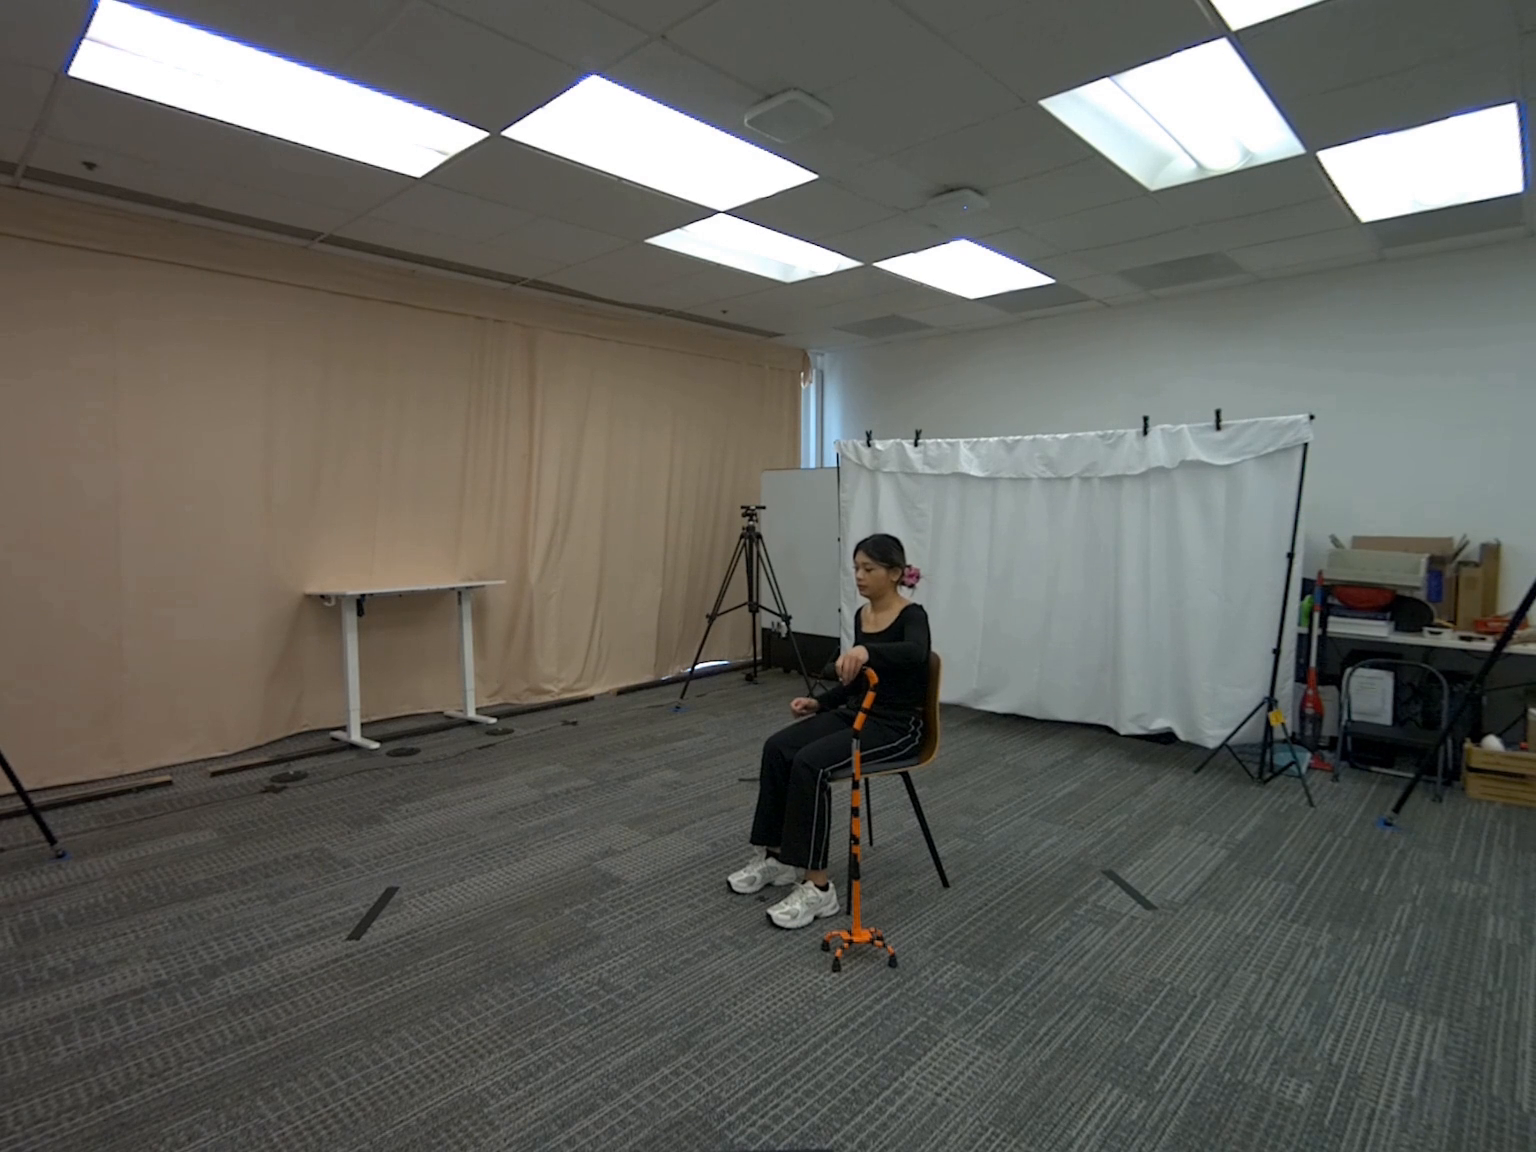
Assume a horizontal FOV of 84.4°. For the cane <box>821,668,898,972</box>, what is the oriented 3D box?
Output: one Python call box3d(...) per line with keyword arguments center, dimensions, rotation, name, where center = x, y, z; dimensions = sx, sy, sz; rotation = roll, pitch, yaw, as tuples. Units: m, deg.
box3d(center=(0.279, 0.719, 2.578), dimensions=(0.204, 0.905, 0.153), rotation=(-1, 4, -9), name="cane")
